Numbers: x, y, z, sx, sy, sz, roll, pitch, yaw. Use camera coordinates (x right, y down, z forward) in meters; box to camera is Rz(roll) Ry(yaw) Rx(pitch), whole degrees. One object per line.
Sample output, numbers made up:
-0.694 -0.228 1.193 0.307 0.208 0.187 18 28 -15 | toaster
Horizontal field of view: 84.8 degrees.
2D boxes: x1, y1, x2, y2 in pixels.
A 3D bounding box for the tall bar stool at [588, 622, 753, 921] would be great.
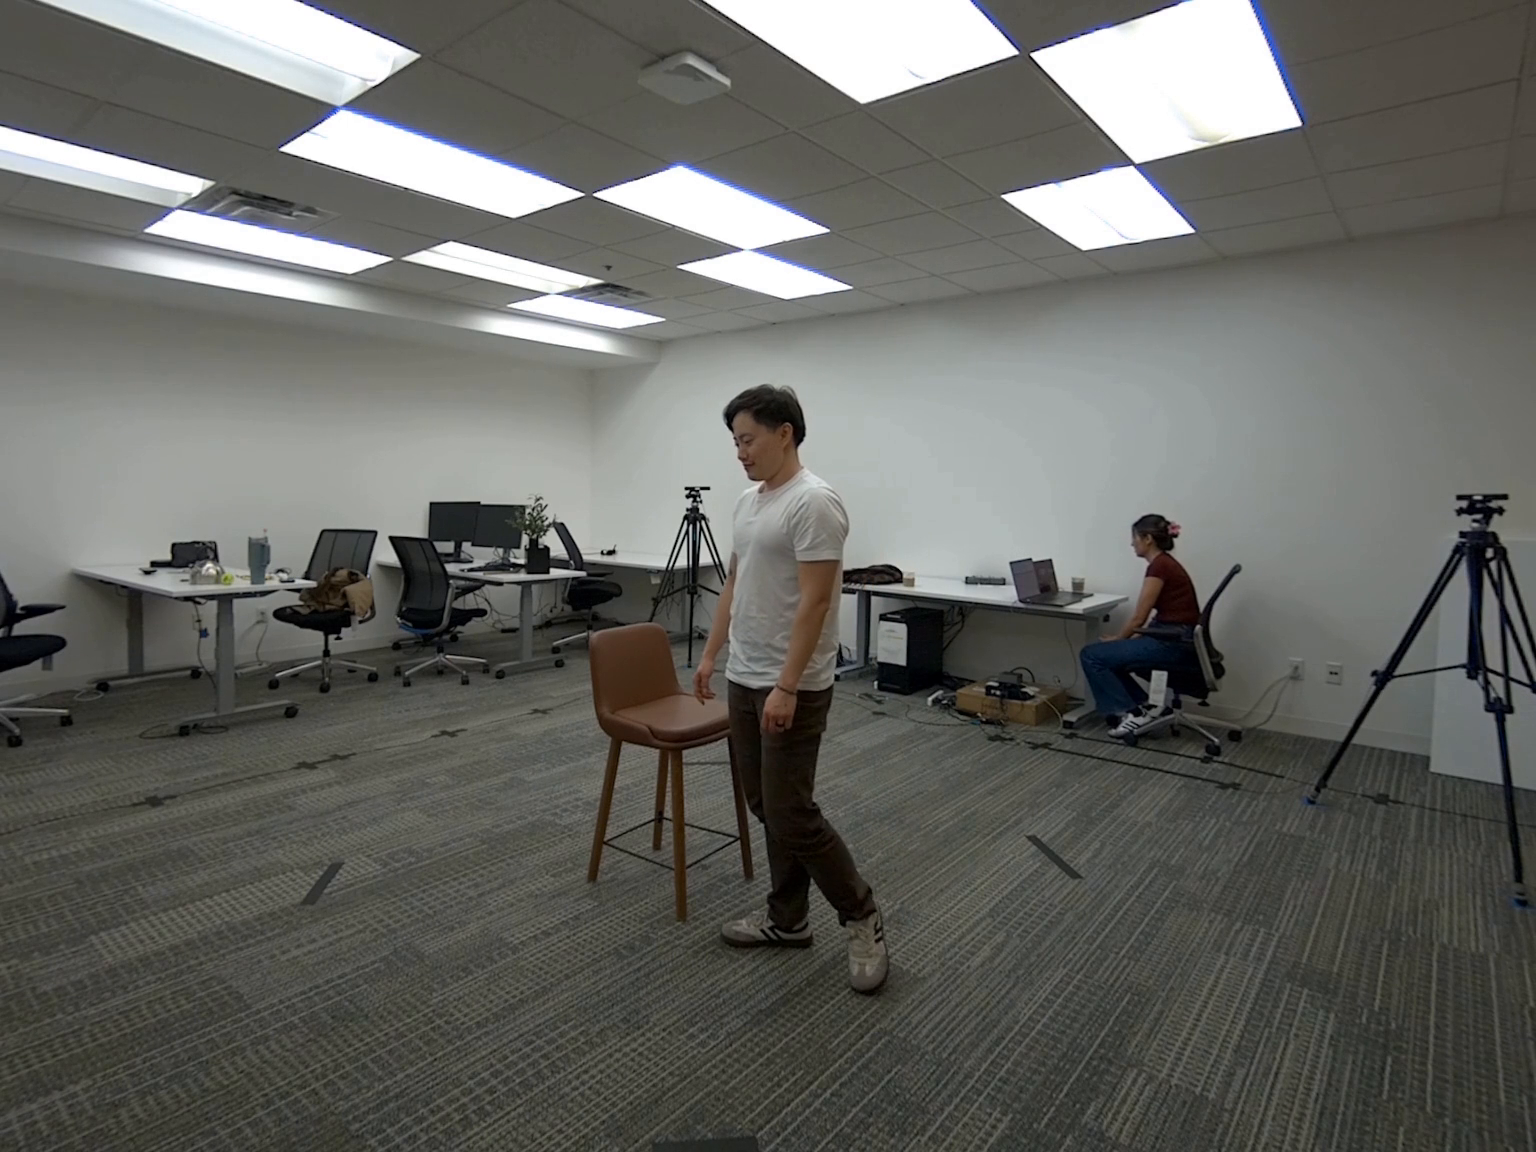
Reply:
-0.357 0.638 2.992 0.482 0.889 0.443 0 2 35 | tall bar stool
